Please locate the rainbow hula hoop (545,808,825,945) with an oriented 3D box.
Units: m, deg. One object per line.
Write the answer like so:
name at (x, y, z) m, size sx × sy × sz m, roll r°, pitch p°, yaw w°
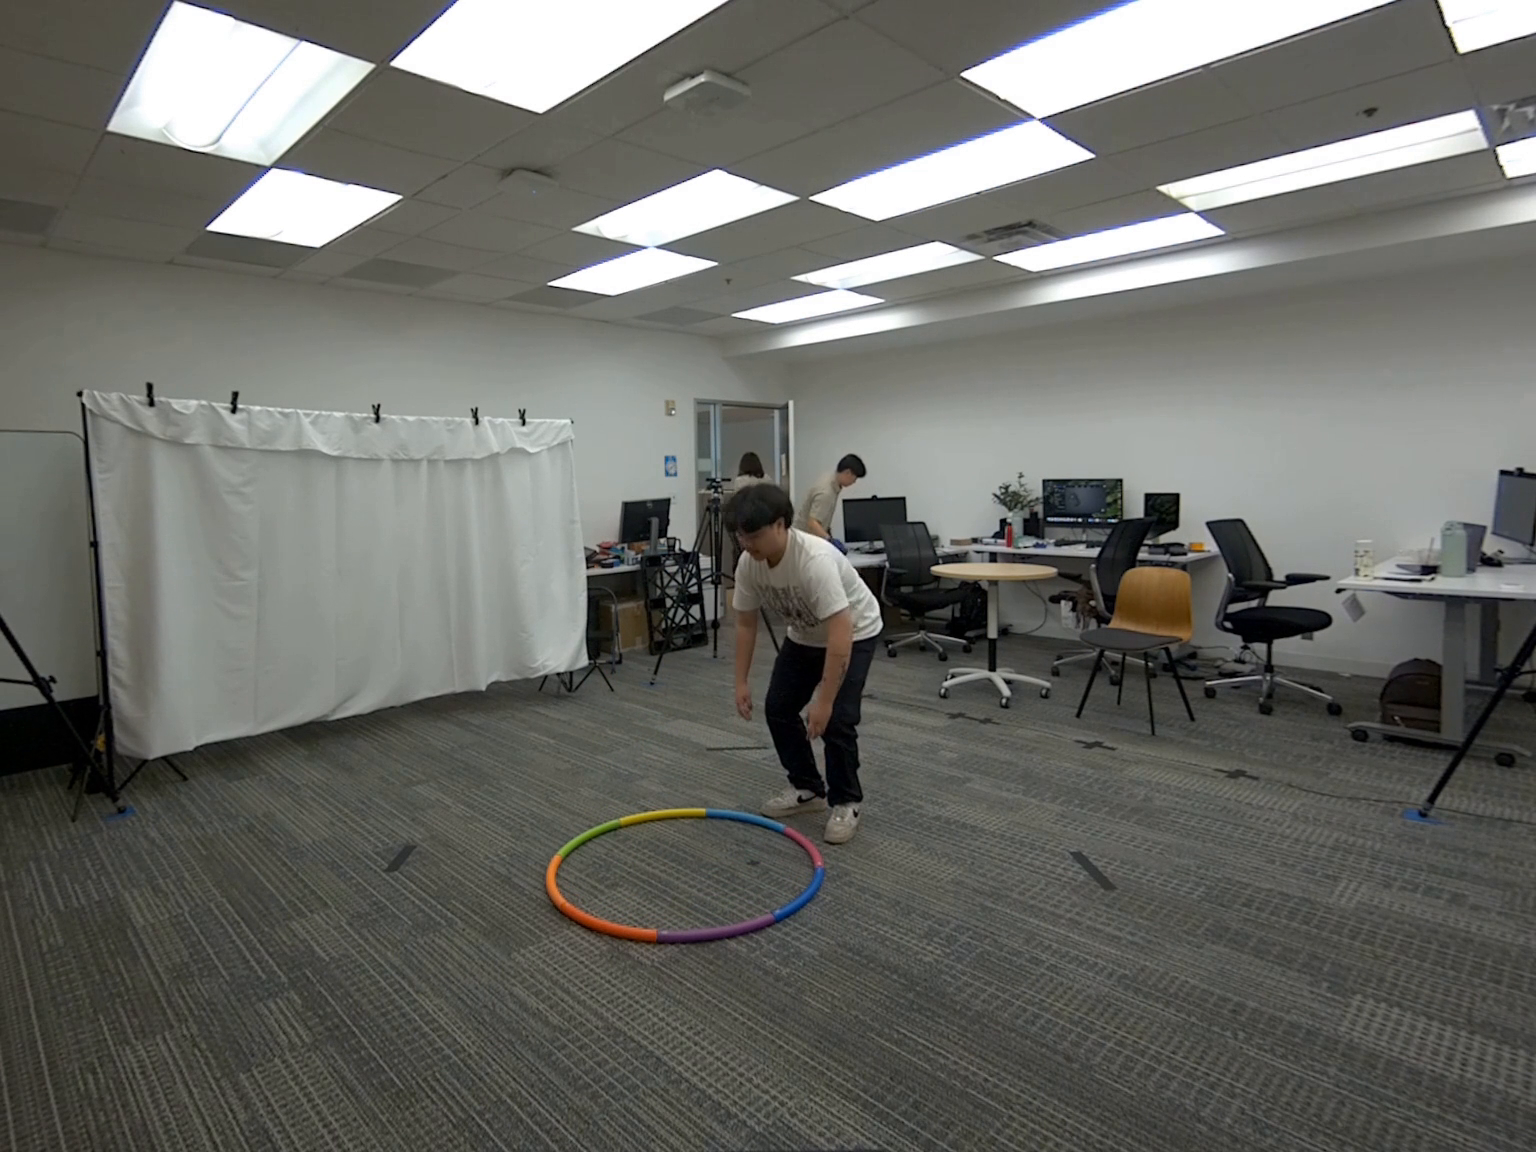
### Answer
rainbow hula hoop at (-0.292, 1.025, 3.062) m, size 0.985 × 0.051 × 0.991 m, roll -1°, pitch 6°, yaw -2°
